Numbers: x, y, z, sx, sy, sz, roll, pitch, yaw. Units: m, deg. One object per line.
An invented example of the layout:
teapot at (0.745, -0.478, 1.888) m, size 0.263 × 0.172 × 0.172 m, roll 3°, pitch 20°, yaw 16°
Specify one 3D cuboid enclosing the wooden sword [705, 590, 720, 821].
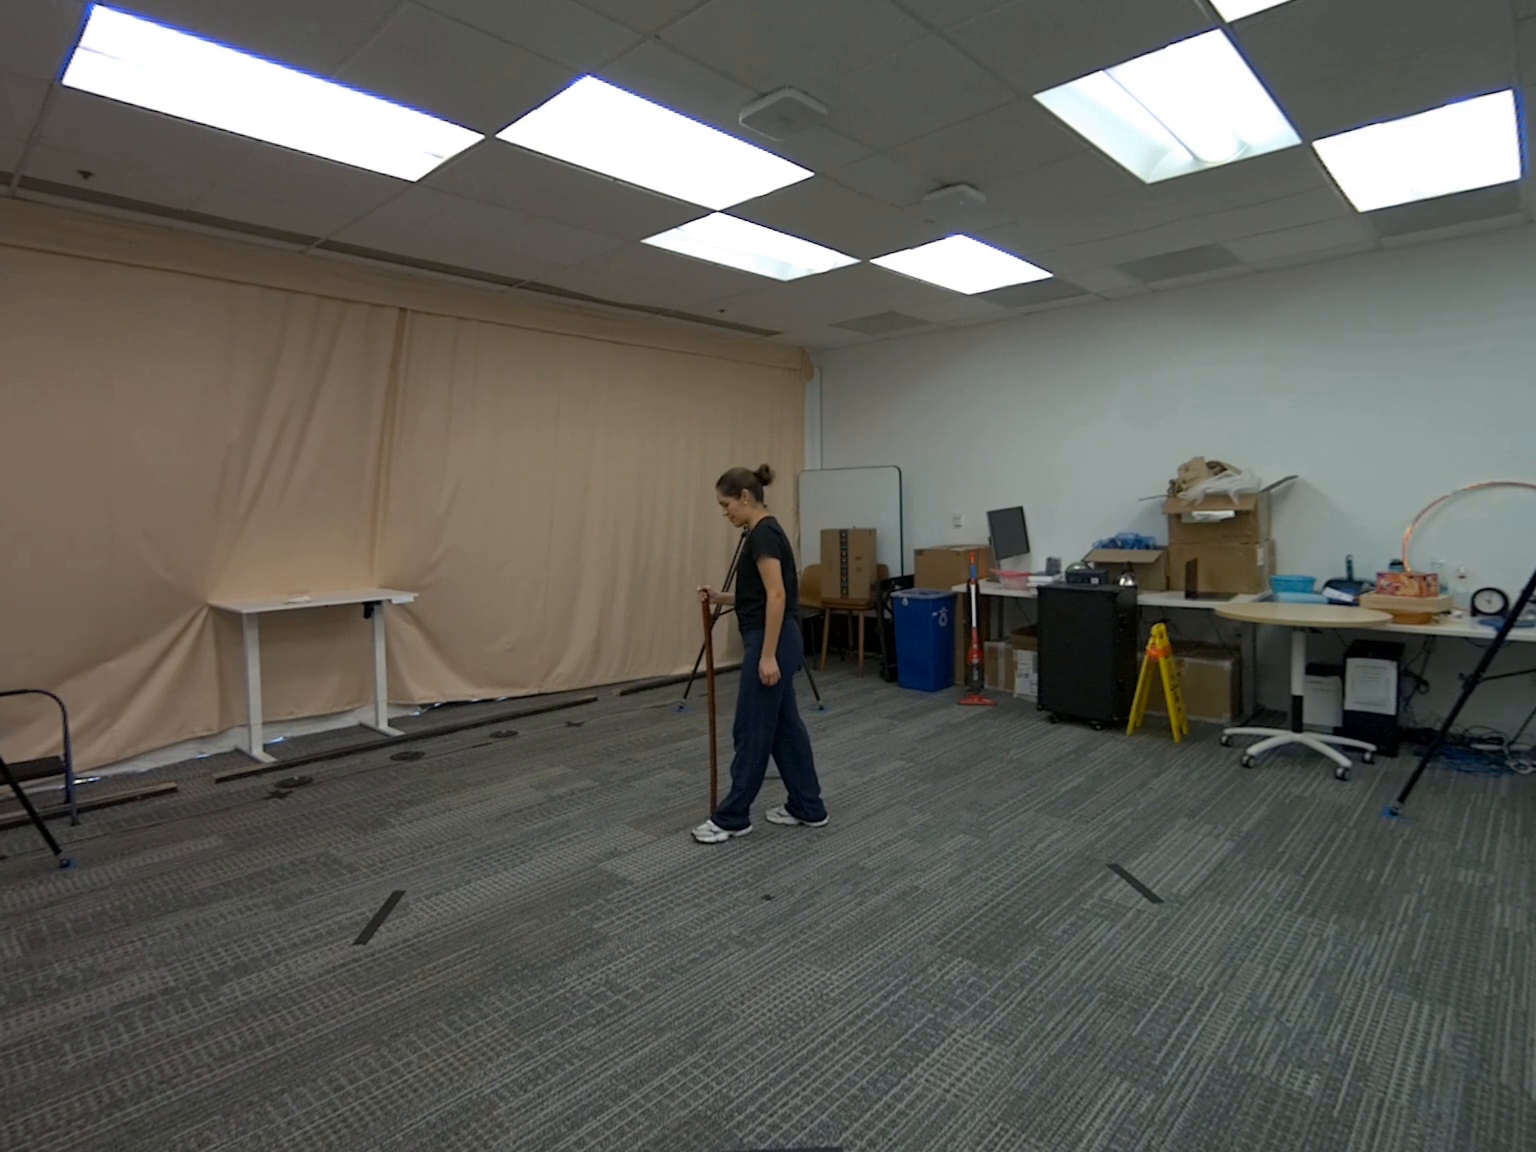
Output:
wooden sword at (-0.247, 0.574, 3.717) m, size 0.053 × 1.025 × 0.023 m, roll 0°, pitch 0°, yaw 28°
